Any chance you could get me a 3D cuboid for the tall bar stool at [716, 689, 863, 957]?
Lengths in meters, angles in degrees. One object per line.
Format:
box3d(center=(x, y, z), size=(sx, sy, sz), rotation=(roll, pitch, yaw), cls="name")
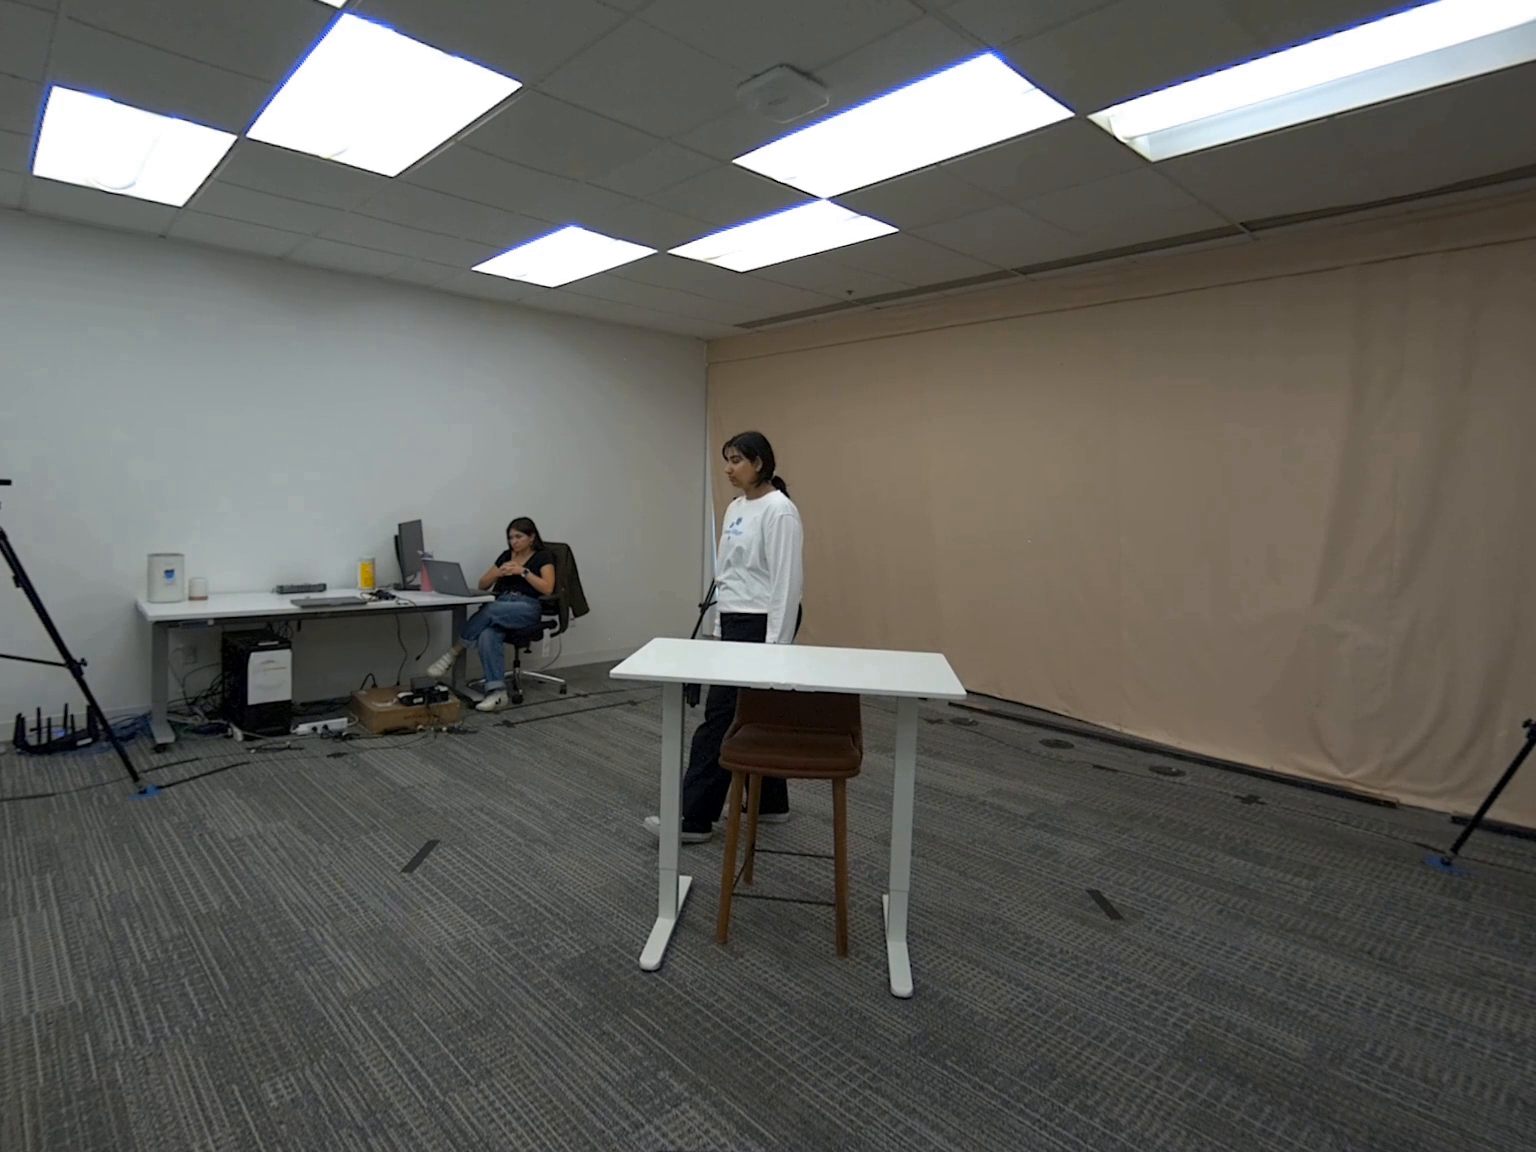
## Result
box3d(center=(0.088, 0.713, 2.798), size=(0.460, 0.888, 0.464), rotation=(3, 2, 9), cls="tall bar stool")
